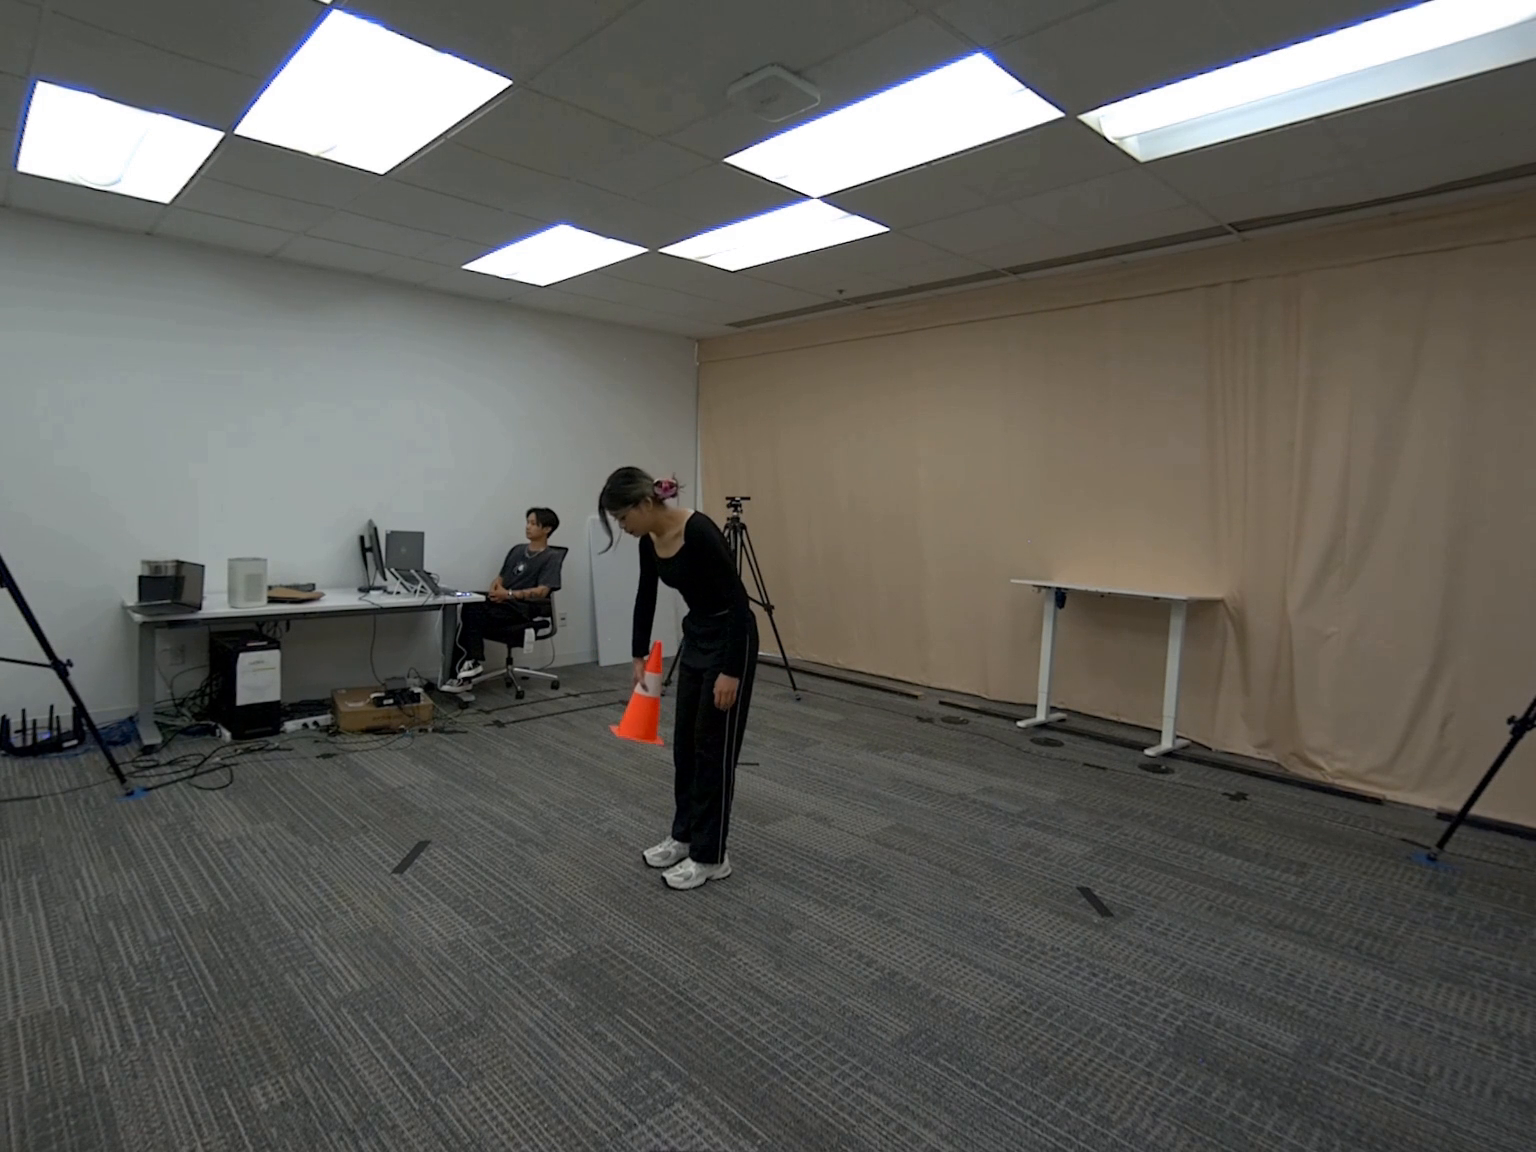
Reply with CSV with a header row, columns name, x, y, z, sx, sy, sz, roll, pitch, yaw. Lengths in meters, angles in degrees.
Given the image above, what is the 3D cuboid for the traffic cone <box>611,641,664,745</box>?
name,x,y,z,sx,sy,sz,roll,pitch,yaw
traffic cone,-0.486,0.449,3.343,0.202,0.384,0.206,13,-1,-16
